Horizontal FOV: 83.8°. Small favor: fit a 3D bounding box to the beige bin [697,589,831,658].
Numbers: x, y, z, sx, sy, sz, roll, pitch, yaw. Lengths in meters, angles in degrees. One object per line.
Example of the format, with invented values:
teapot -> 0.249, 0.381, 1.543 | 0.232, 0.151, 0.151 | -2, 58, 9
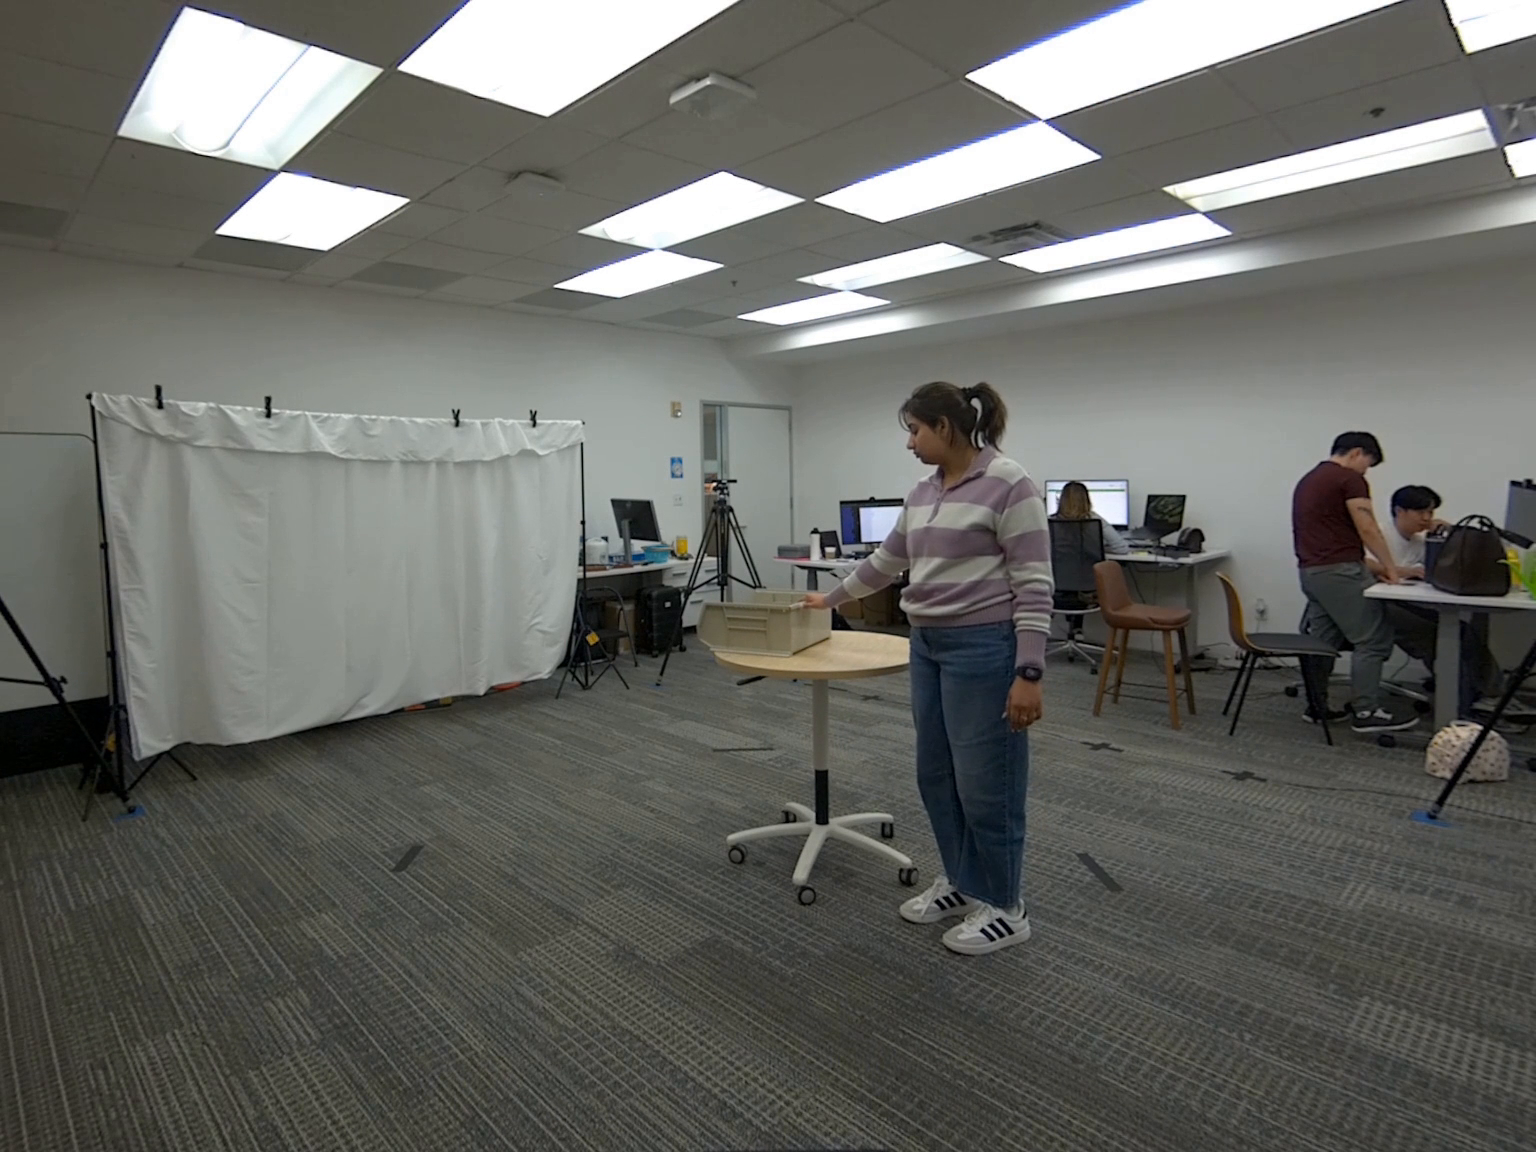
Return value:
beige bin -> 0.002, 0.165, 3.189 | 0.387, 0.188, 0.414 | 4, 7, 27
